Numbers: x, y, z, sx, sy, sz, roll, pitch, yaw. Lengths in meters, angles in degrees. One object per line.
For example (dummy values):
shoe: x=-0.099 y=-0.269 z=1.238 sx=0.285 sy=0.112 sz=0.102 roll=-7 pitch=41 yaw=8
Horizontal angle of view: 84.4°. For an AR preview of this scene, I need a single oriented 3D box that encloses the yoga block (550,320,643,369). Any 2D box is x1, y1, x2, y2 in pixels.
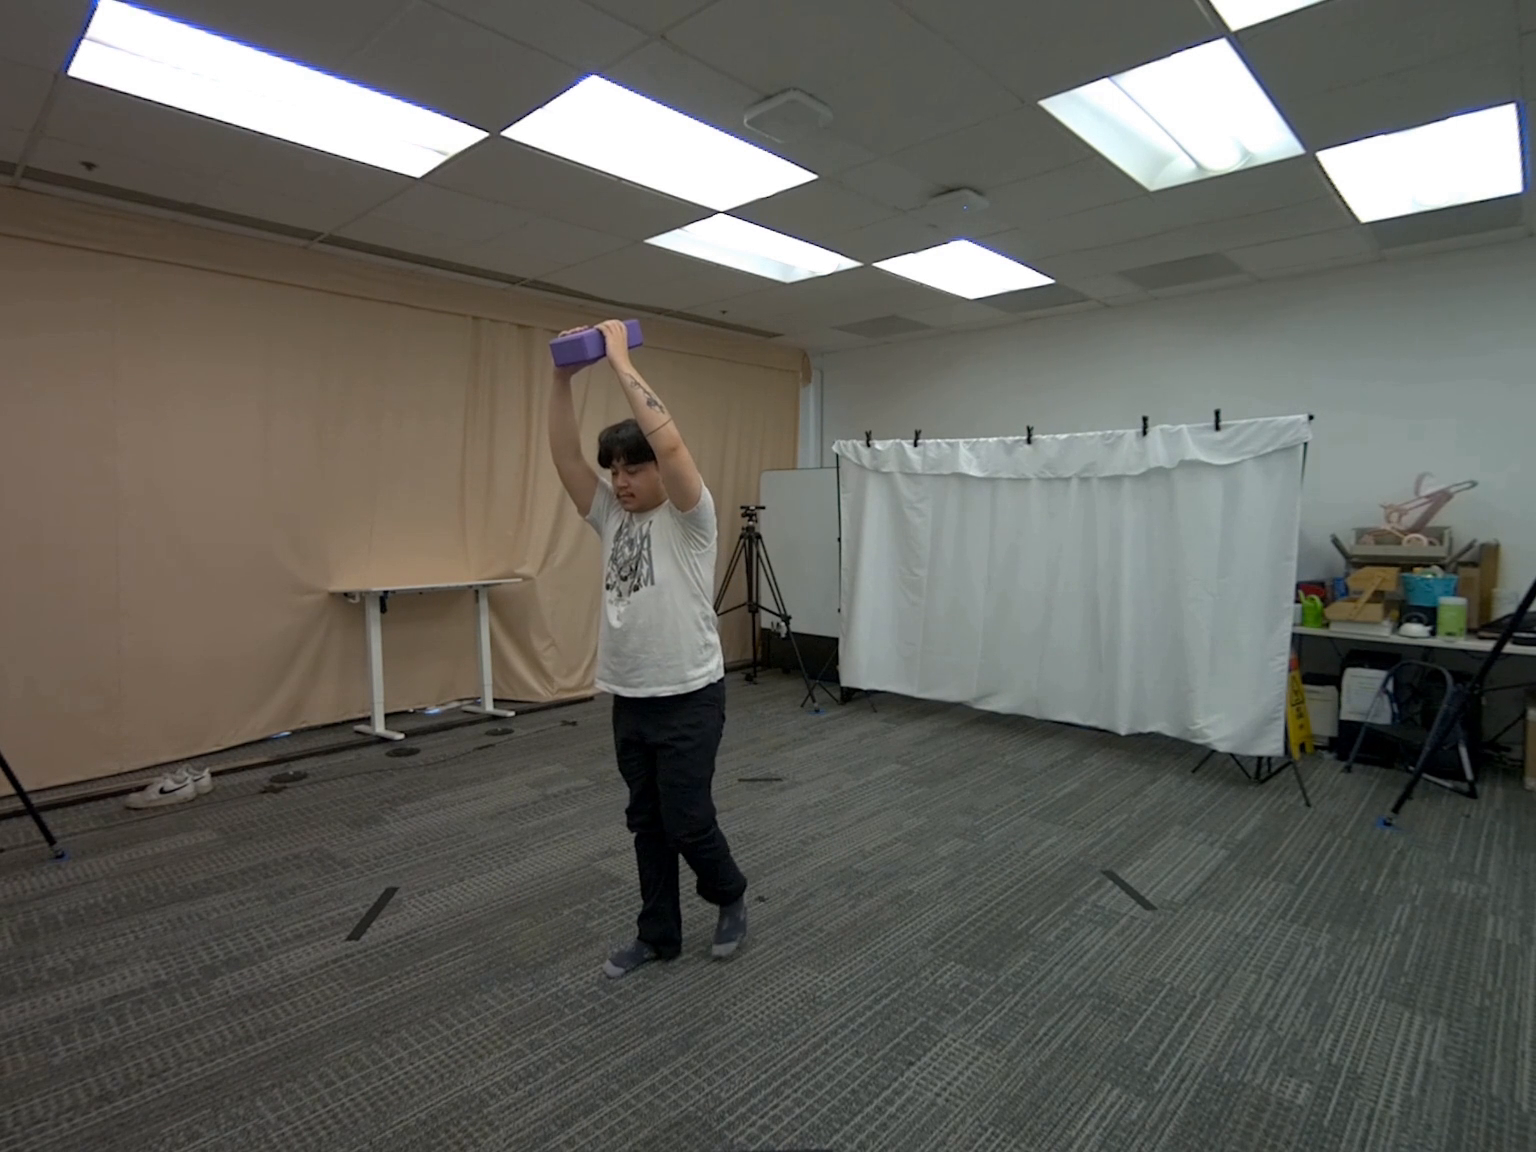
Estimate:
yoga block: x=-0.480 y=-0.652 z=2.363 sx=0.154 sy=0.075 sz=0.225 roll=3 pitch=25 yaw=39
